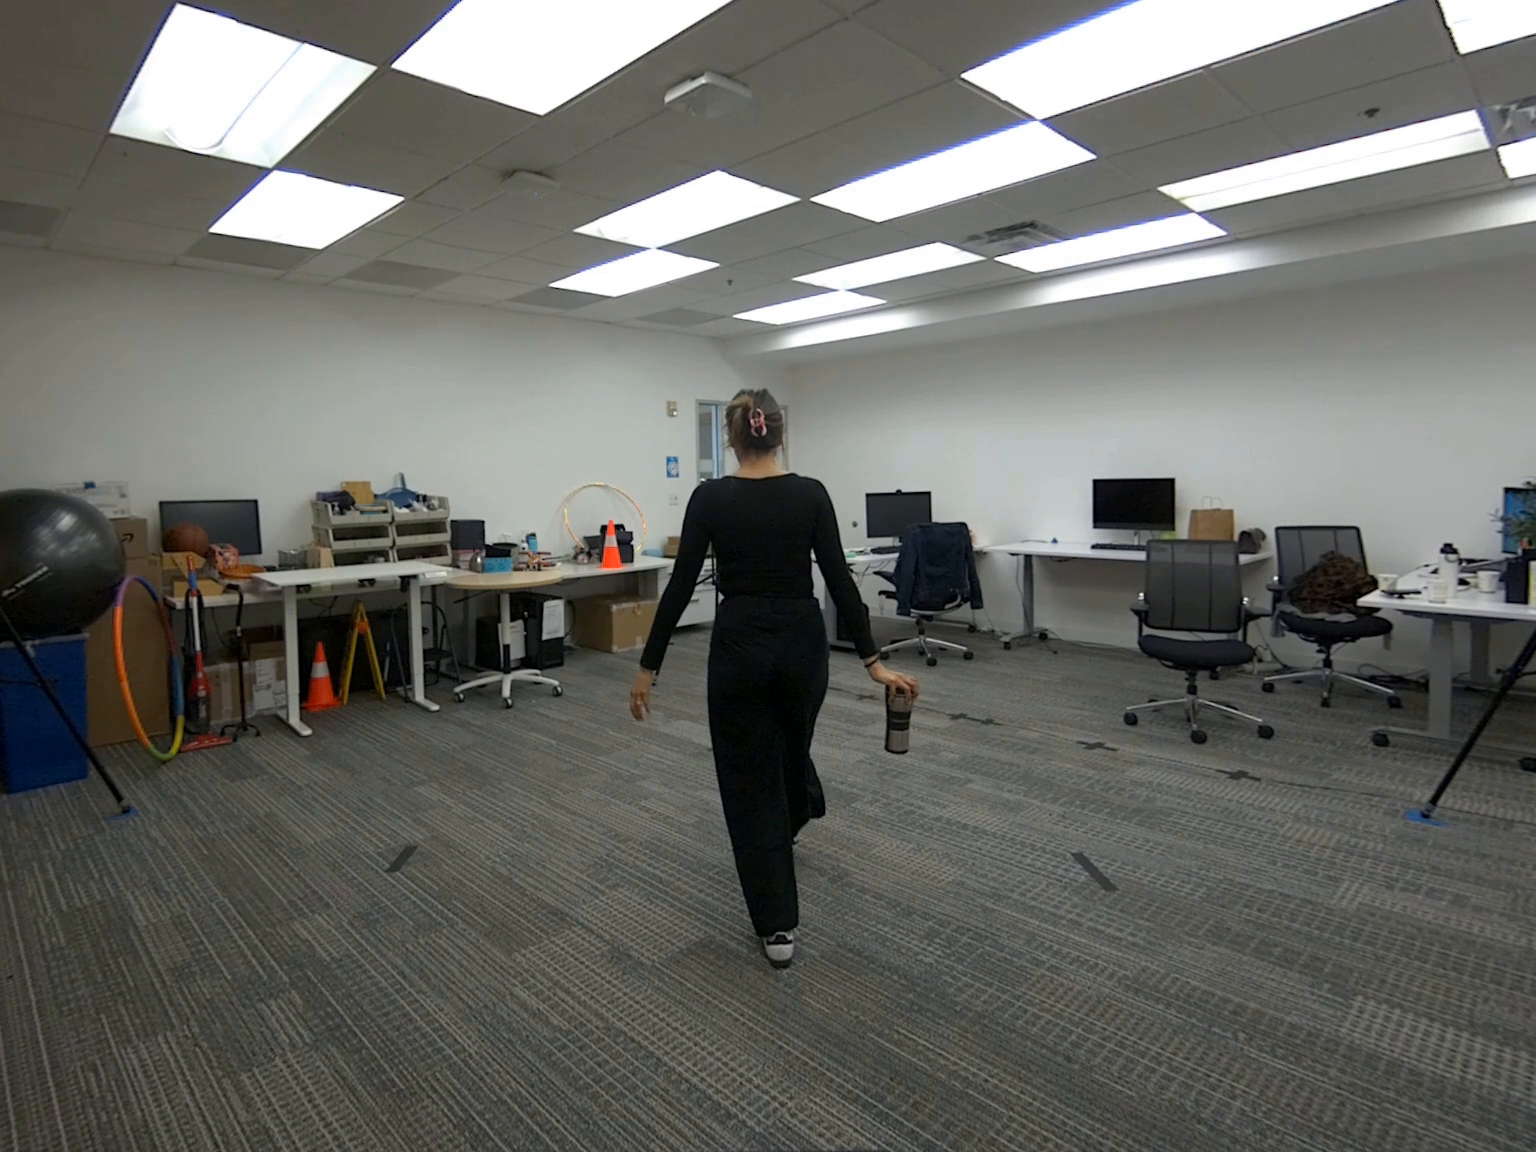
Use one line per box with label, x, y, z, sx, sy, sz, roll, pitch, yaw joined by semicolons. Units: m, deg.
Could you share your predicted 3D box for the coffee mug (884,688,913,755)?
coffee mug;0.407;0.419;2.580;0.090;0.201;0.119;6;13;35
